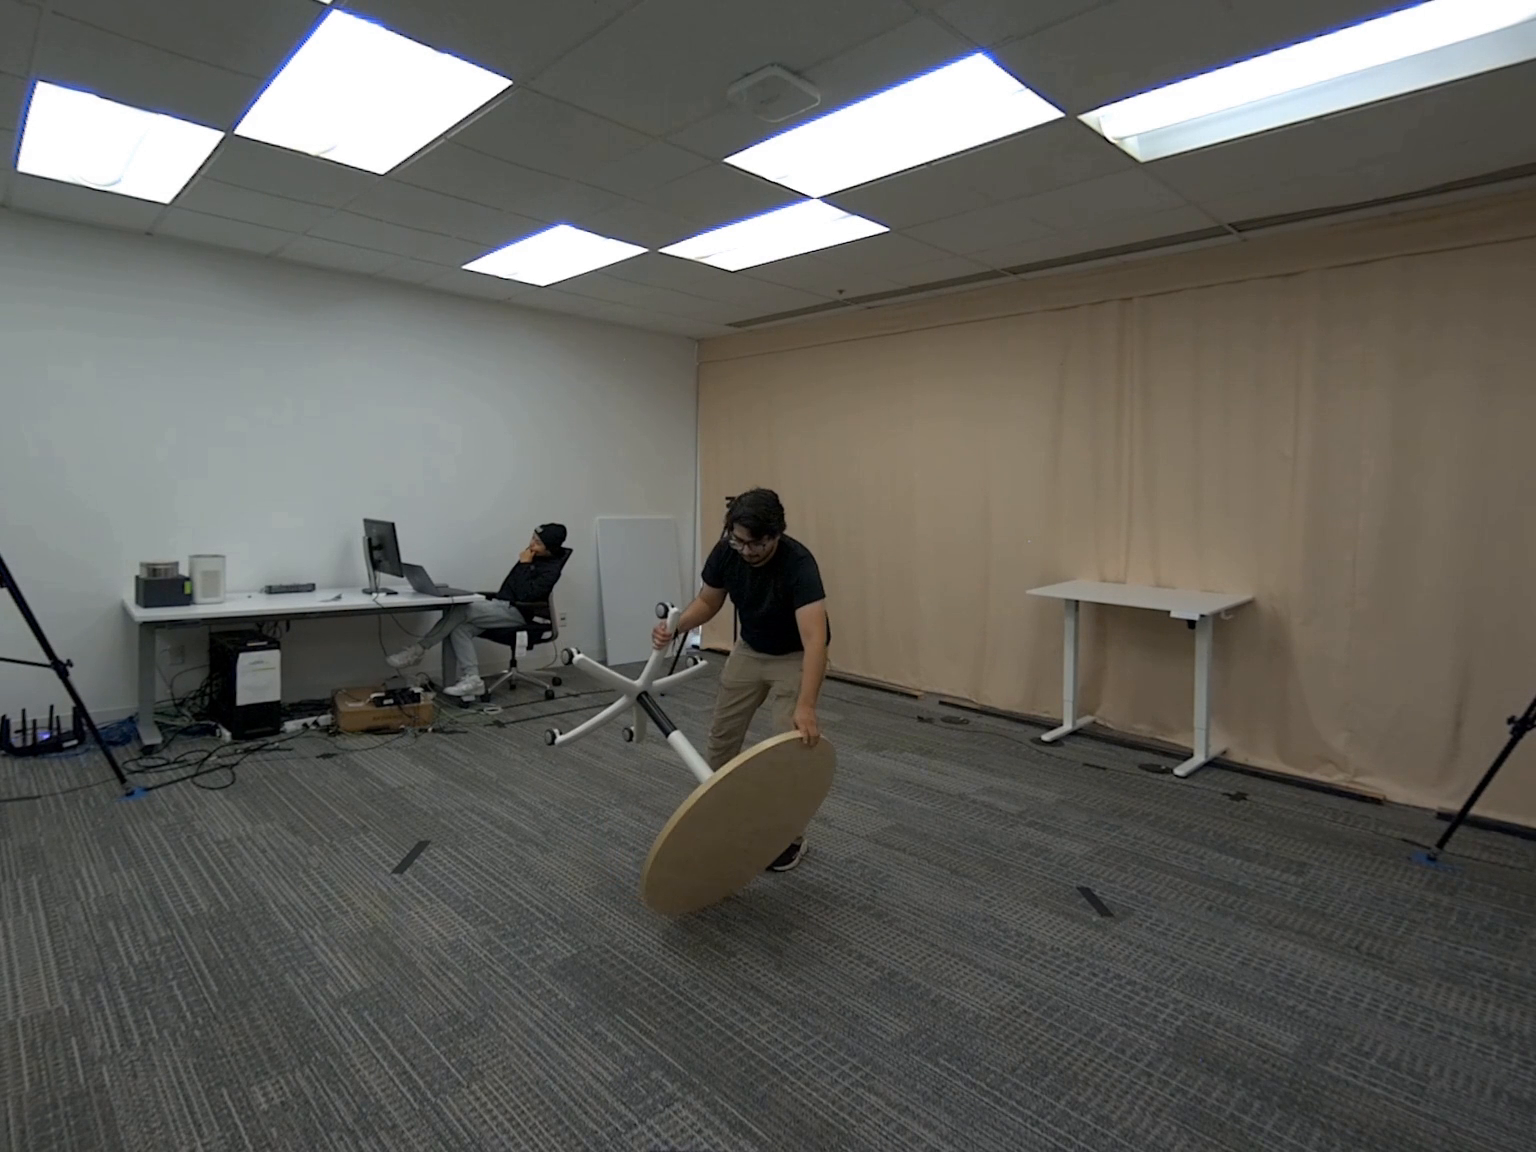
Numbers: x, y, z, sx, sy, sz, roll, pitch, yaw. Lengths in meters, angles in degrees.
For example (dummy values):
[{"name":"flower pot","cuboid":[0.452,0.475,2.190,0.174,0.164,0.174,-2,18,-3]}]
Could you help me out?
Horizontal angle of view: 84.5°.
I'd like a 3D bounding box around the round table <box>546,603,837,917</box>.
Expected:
[{"name":"round table","cuboid":[-0.323,0.590,2.947,0.767,0.778,0.811,-3,35,-45]}]
